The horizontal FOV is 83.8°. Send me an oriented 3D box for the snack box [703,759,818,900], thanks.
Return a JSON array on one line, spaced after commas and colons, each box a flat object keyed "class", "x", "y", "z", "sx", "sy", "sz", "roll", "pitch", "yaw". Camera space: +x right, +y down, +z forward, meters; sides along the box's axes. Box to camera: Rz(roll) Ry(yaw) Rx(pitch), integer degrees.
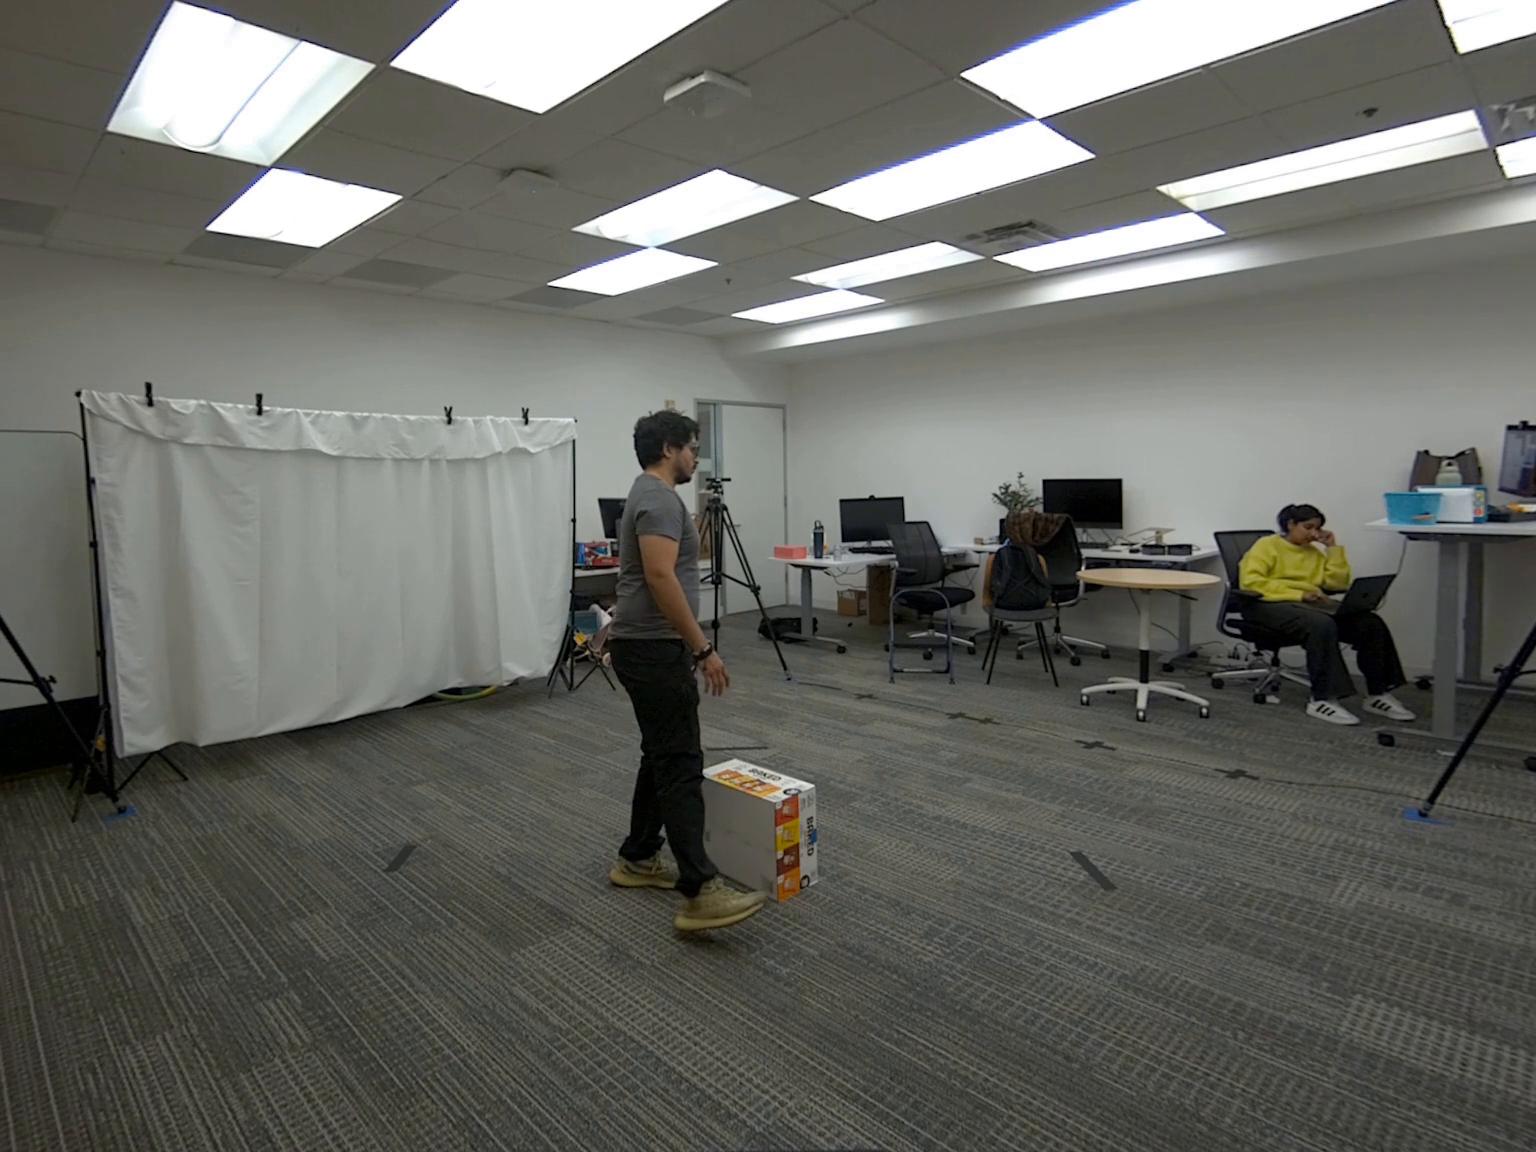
[{"class": "snack box", "x": -0.042, "y": 0.882, "z": 3.020, "sx": 0.418, "sy": 0.339, "sz": 0.200, "roll": 4, "pitch": 7, "yaw": 45}]
